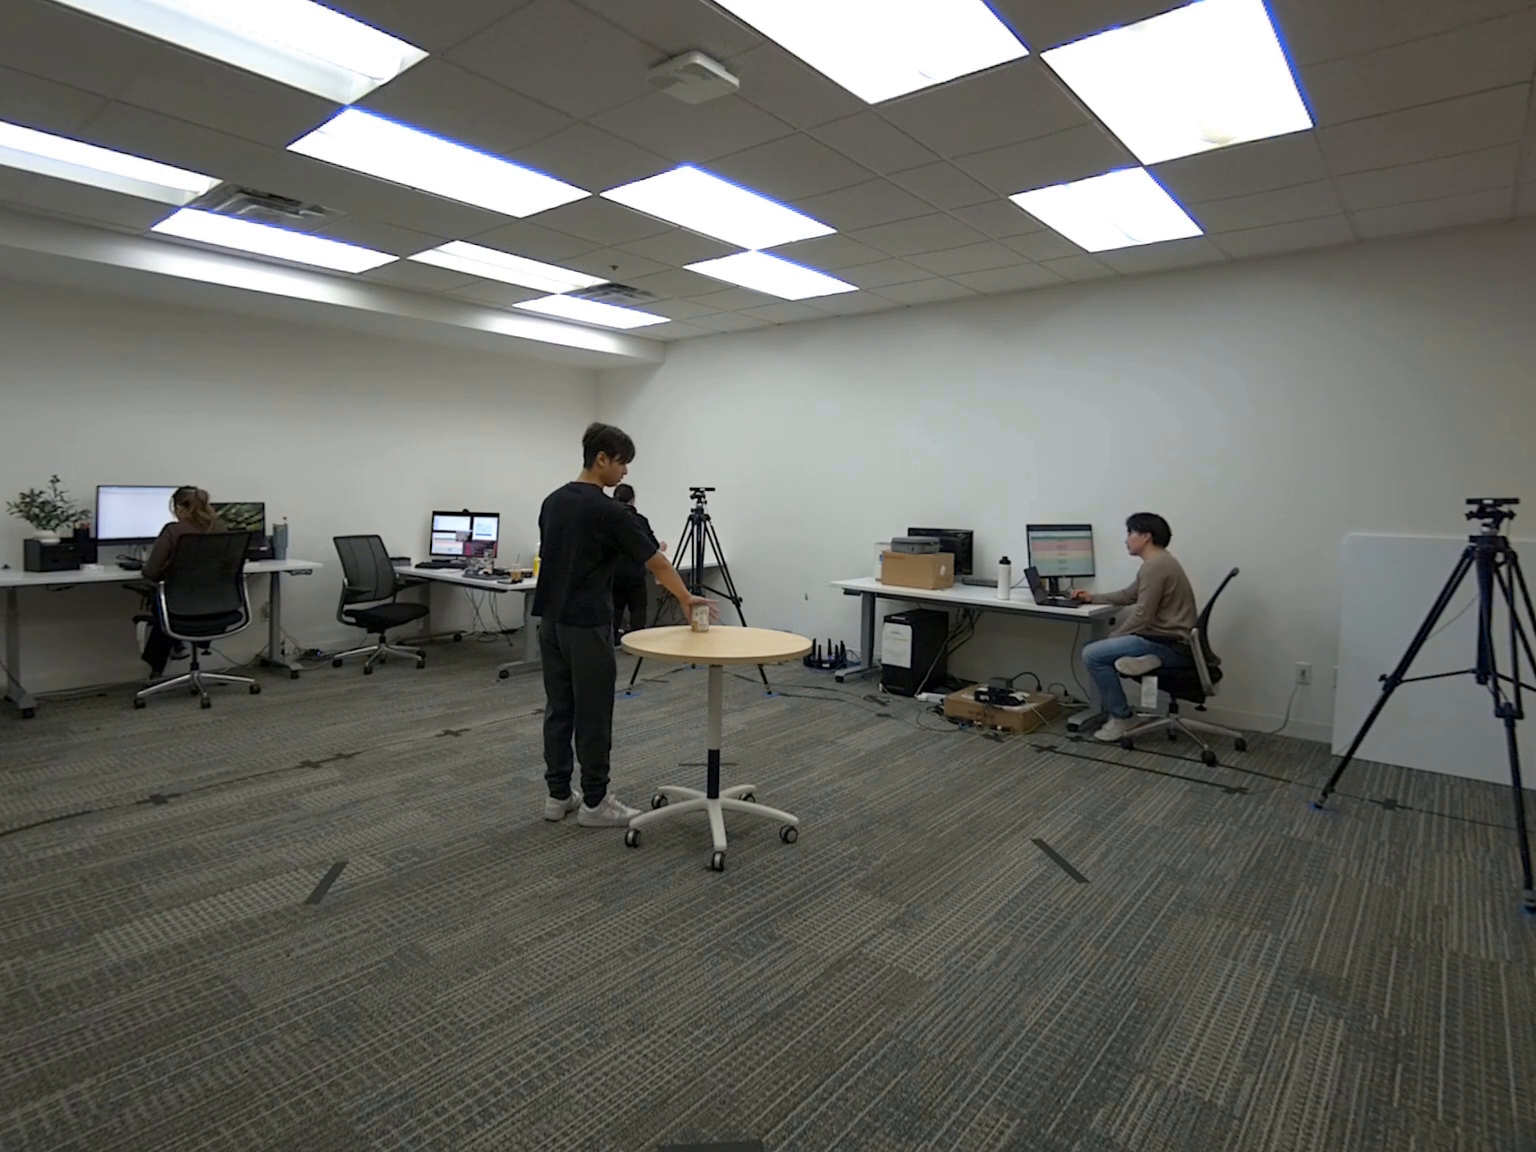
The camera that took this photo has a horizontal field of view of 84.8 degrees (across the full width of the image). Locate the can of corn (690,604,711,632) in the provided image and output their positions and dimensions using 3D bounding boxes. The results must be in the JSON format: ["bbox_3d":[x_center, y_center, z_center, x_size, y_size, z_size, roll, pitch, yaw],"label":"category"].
[{"bbox_3d":[-0.308,0.177,3.635,0.074,0.110,0.075,1,5,-2],"label":"can of corn"}]
